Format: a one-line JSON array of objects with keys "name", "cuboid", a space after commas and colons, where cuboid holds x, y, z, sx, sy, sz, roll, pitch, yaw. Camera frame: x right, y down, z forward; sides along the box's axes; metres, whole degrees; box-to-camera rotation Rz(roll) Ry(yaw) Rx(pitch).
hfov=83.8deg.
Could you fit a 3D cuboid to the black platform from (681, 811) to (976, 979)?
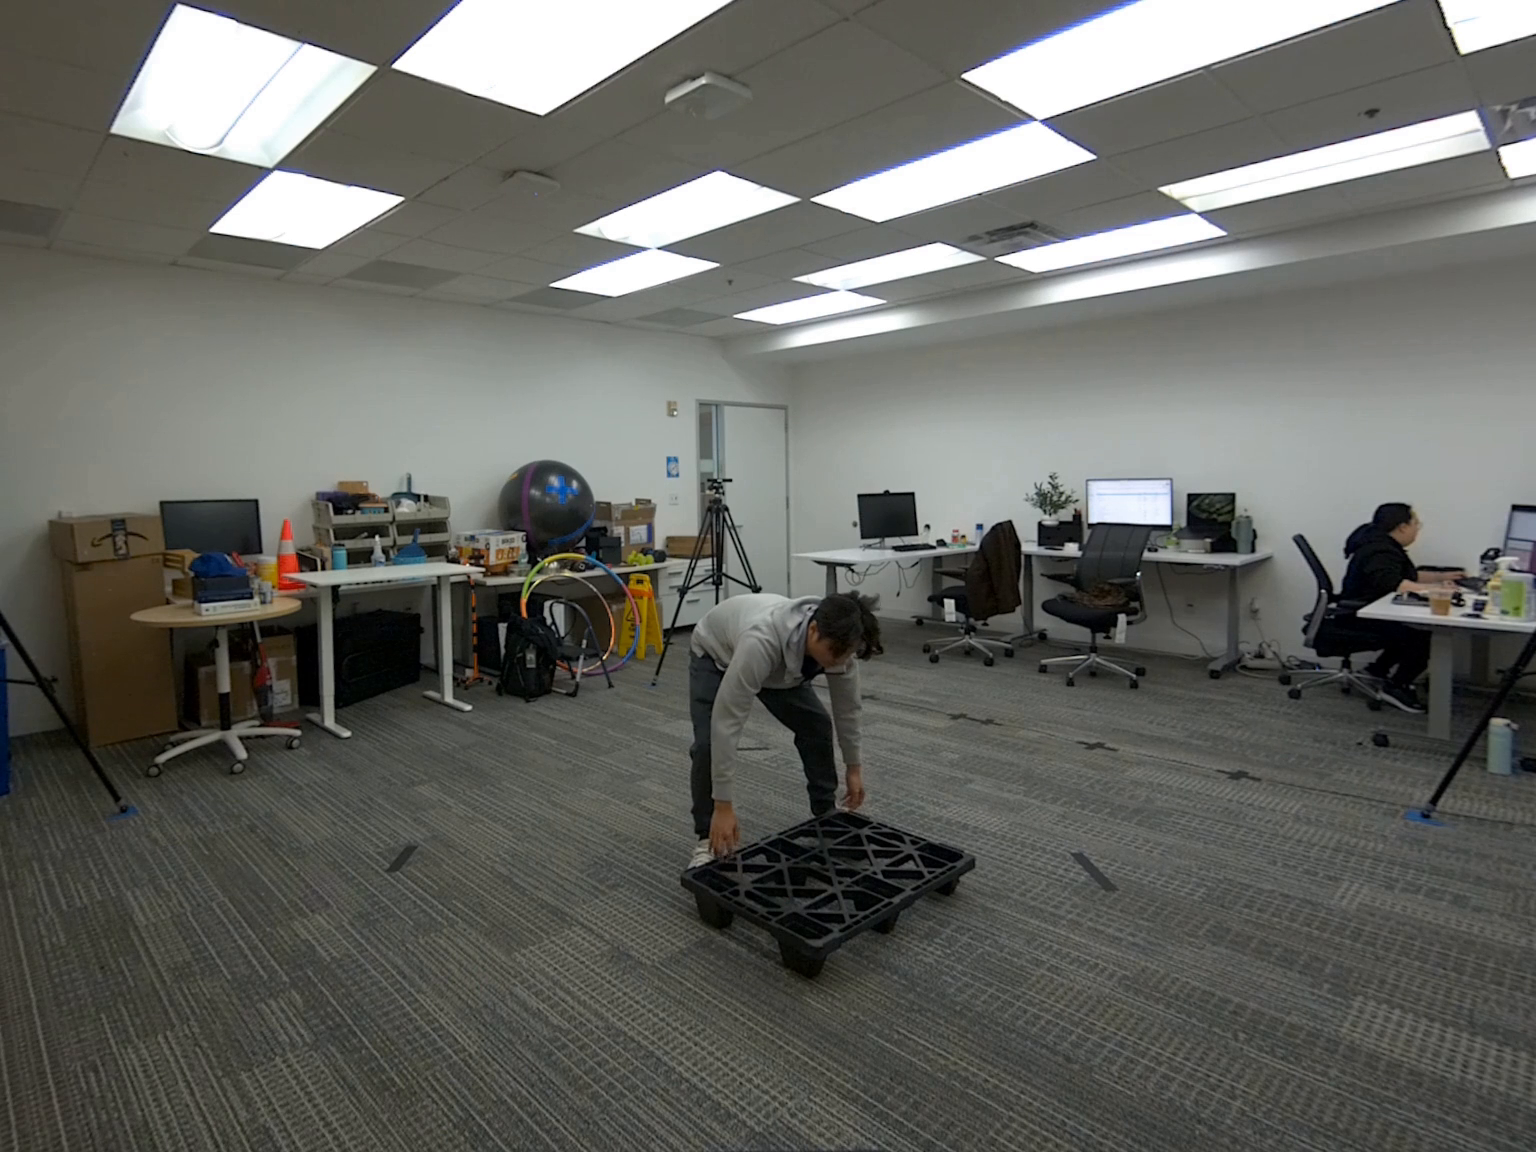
[{"name": "black platform", "cuboid": [0.199, 1.012, 2.791, 0.784, 0.143, 0.624, -7, 9, -43]}]
